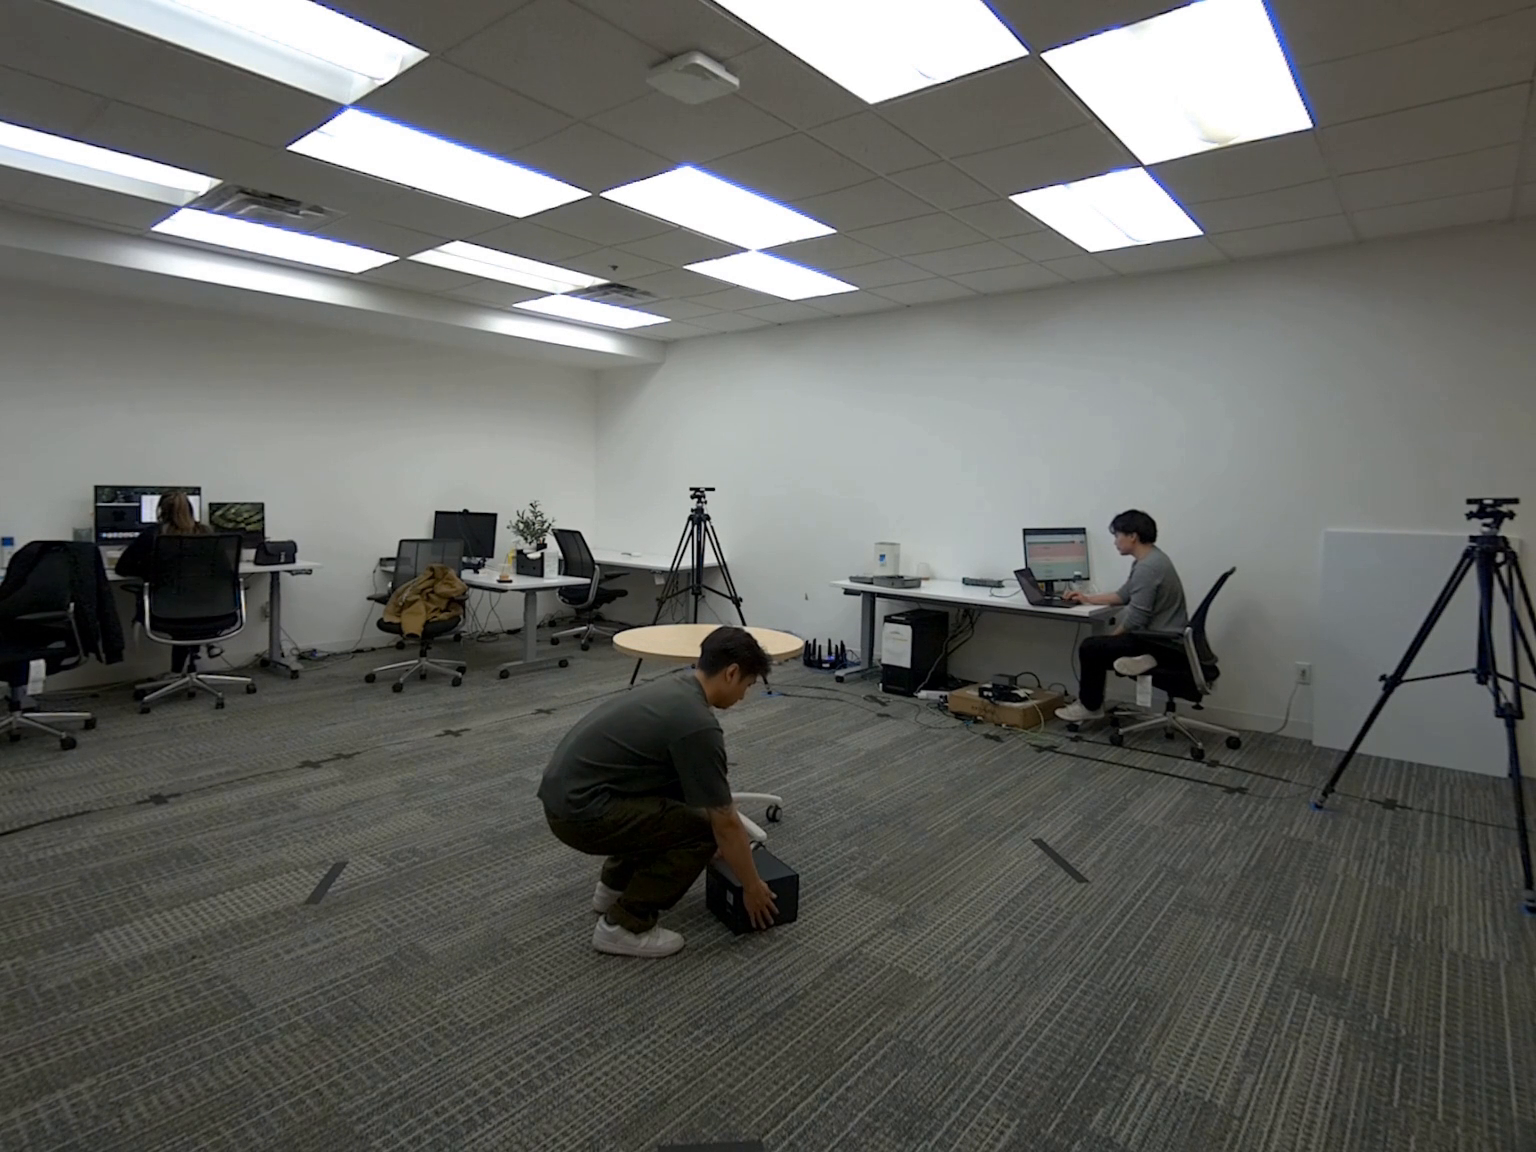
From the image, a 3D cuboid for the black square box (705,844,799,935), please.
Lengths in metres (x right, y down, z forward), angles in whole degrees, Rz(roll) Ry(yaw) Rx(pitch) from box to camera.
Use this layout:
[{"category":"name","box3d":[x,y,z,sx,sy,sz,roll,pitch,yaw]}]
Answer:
[{"category":"black square box","box3d":[-0.061,1.021,2.772,0.222,0.155,0.223,0,4,-30]}]
